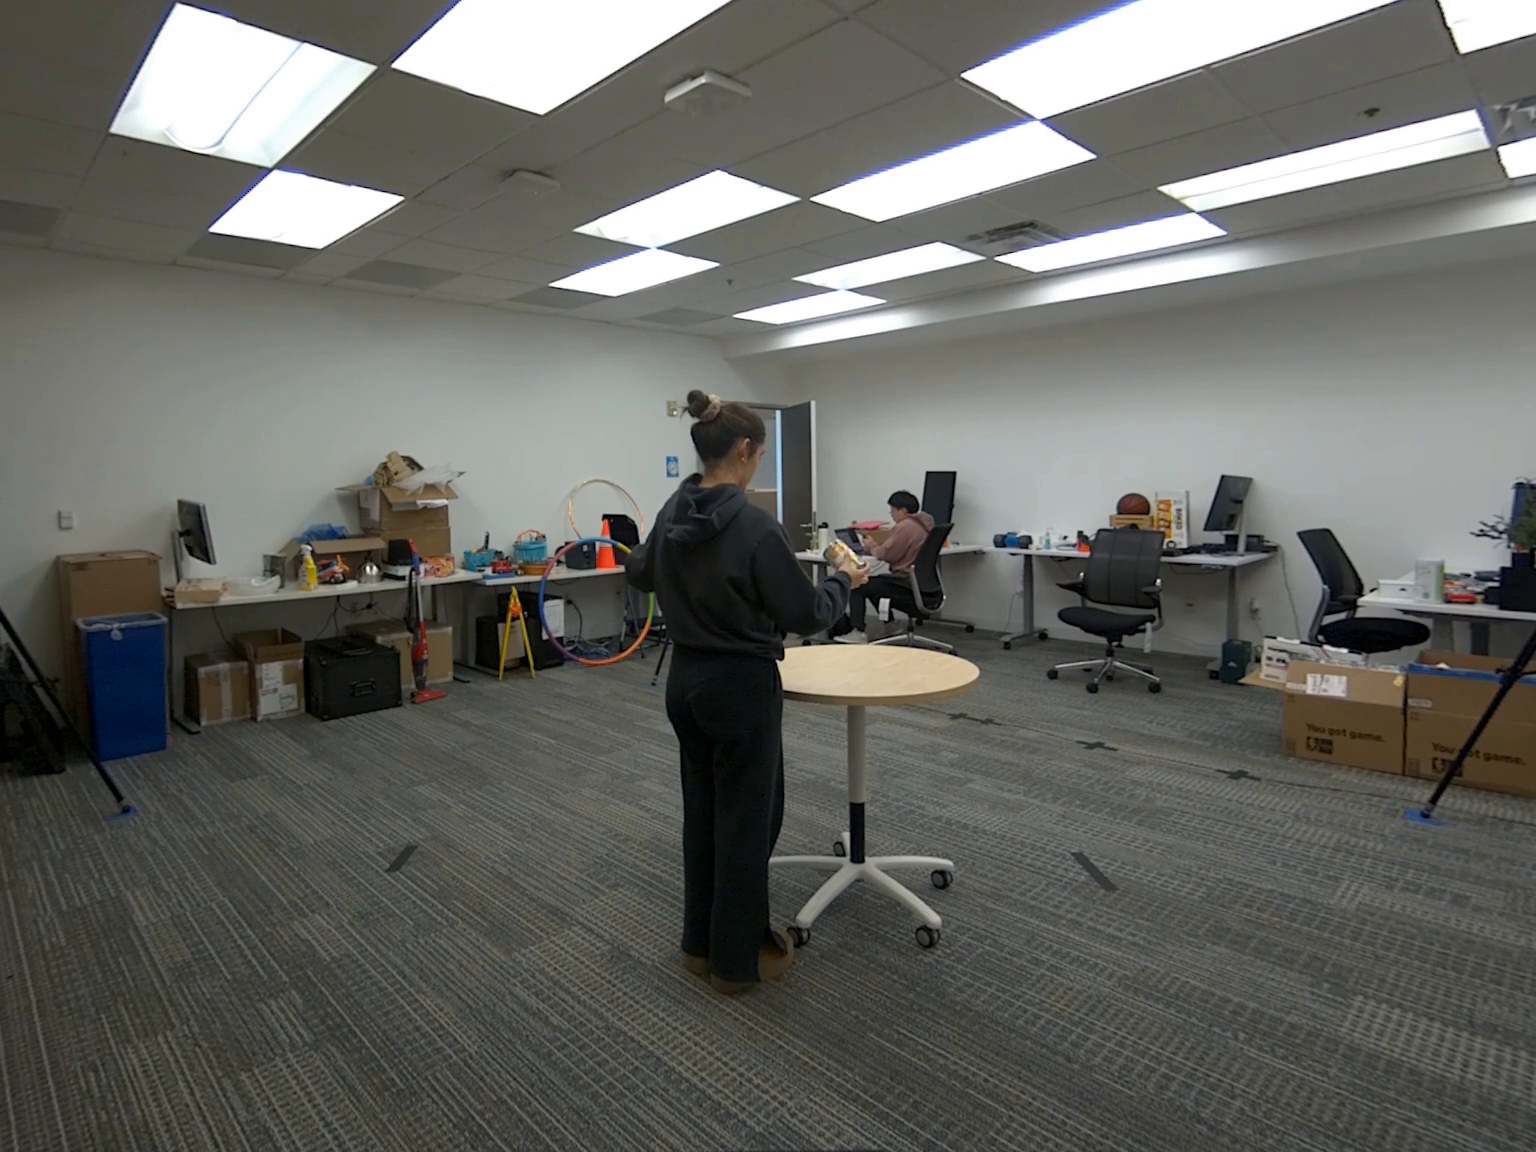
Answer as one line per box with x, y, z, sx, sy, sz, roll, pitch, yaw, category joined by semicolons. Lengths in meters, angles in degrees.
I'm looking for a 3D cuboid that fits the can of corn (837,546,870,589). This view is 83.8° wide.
0.230;-0.038;2.510;0.072;0.074;0.114;-5;50;-51;can of corn
